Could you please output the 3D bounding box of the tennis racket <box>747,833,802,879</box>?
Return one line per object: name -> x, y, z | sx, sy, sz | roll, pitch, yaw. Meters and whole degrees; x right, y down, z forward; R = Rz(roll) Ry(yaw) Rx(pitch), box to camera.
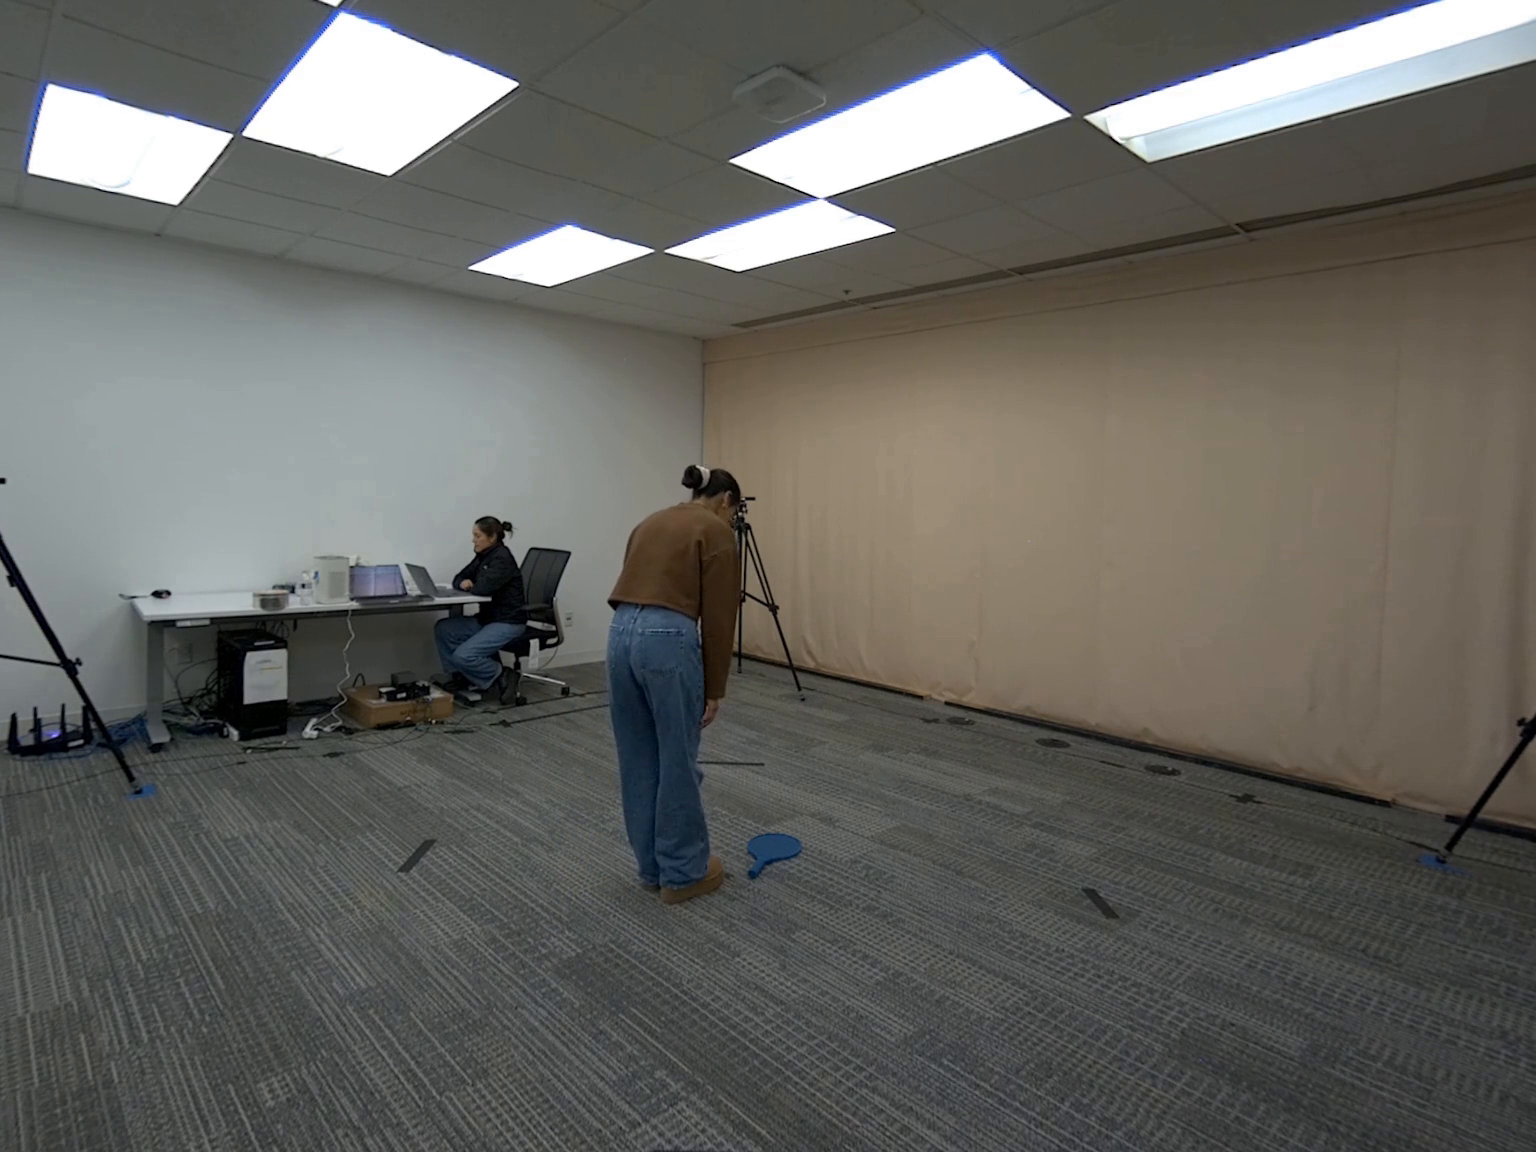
tennis racket -> -0.007, 1.080, 3.284 | 0.217, 0.032, 0.427 | 3, 4, 17
